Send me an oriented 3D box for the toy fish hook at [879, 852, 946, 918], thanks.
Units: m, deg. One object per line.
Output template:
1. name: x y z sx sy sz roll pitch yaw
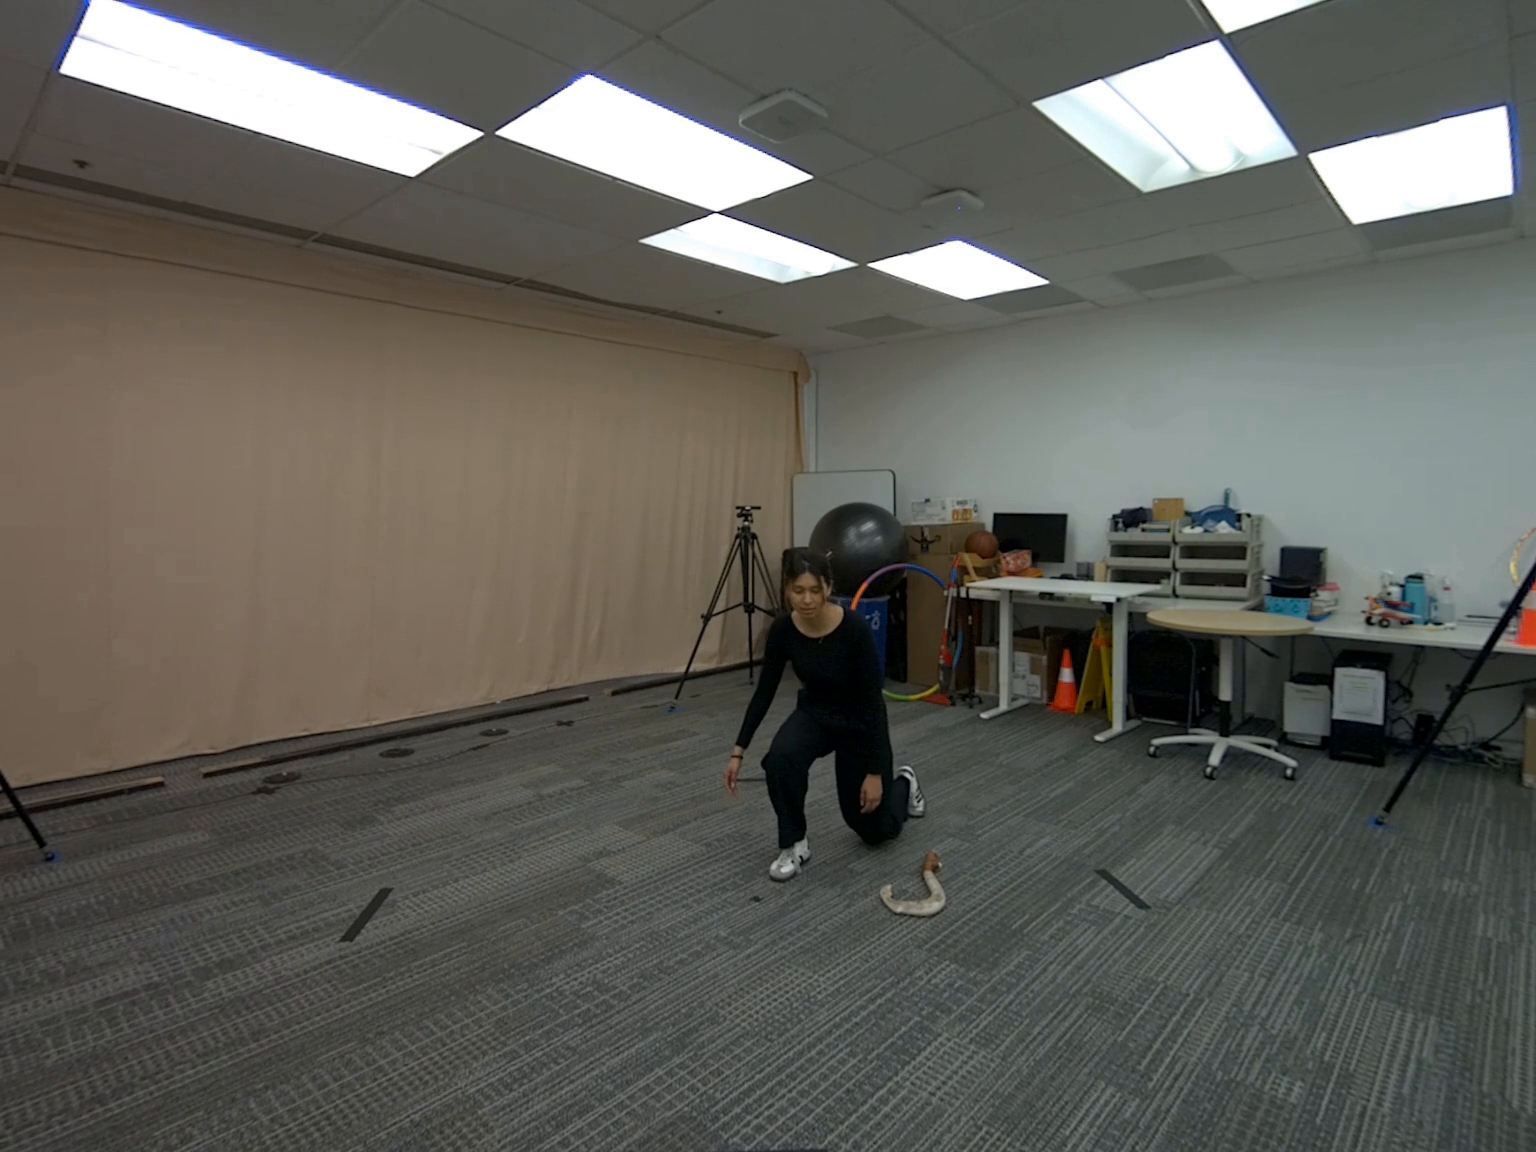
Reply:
1. toy fish hook: 0.537 1.109 3.082 0.228 0.048 0.500 3 5 13
